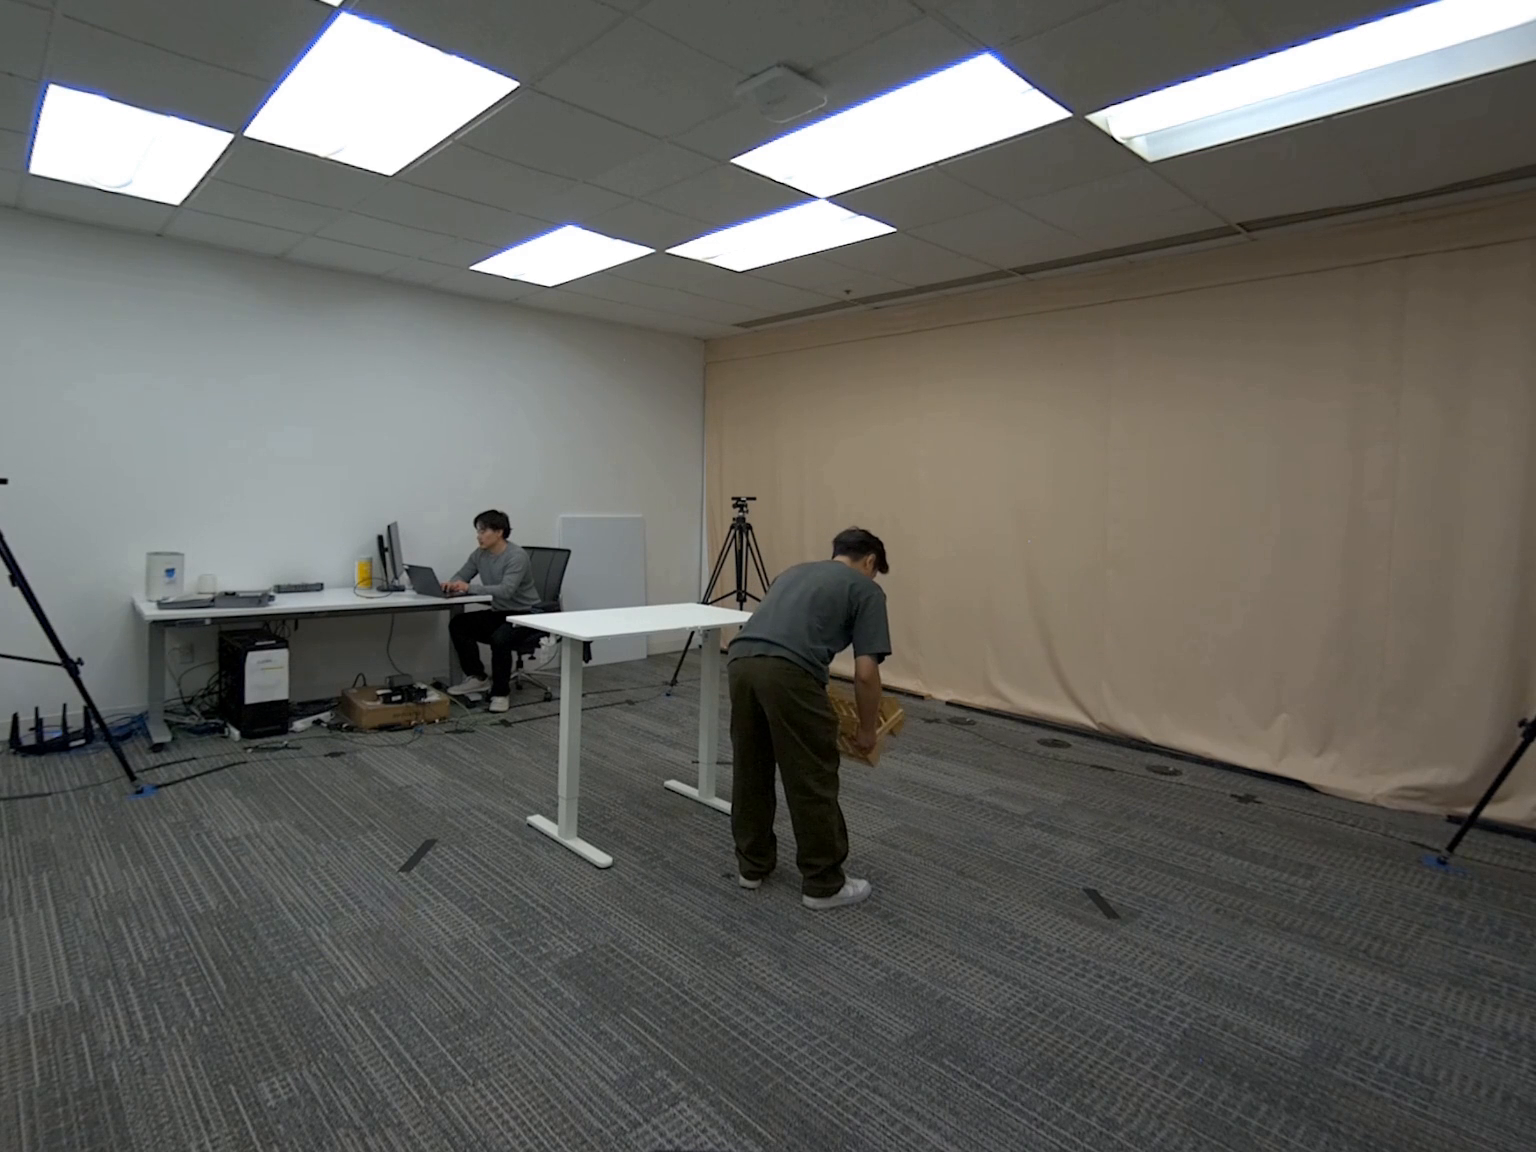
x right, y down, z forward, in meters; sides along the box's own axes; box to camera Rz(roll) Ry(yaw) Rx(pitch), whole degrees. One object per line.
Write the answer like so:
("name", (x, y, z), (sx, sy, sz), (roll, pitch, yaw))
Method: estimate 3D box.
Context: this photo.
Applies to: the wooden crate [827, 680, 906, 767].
("wooden crate", (0.301, 0.521, 3.207), (0.333, 0.274, 0.293), (8, -36, 40))
